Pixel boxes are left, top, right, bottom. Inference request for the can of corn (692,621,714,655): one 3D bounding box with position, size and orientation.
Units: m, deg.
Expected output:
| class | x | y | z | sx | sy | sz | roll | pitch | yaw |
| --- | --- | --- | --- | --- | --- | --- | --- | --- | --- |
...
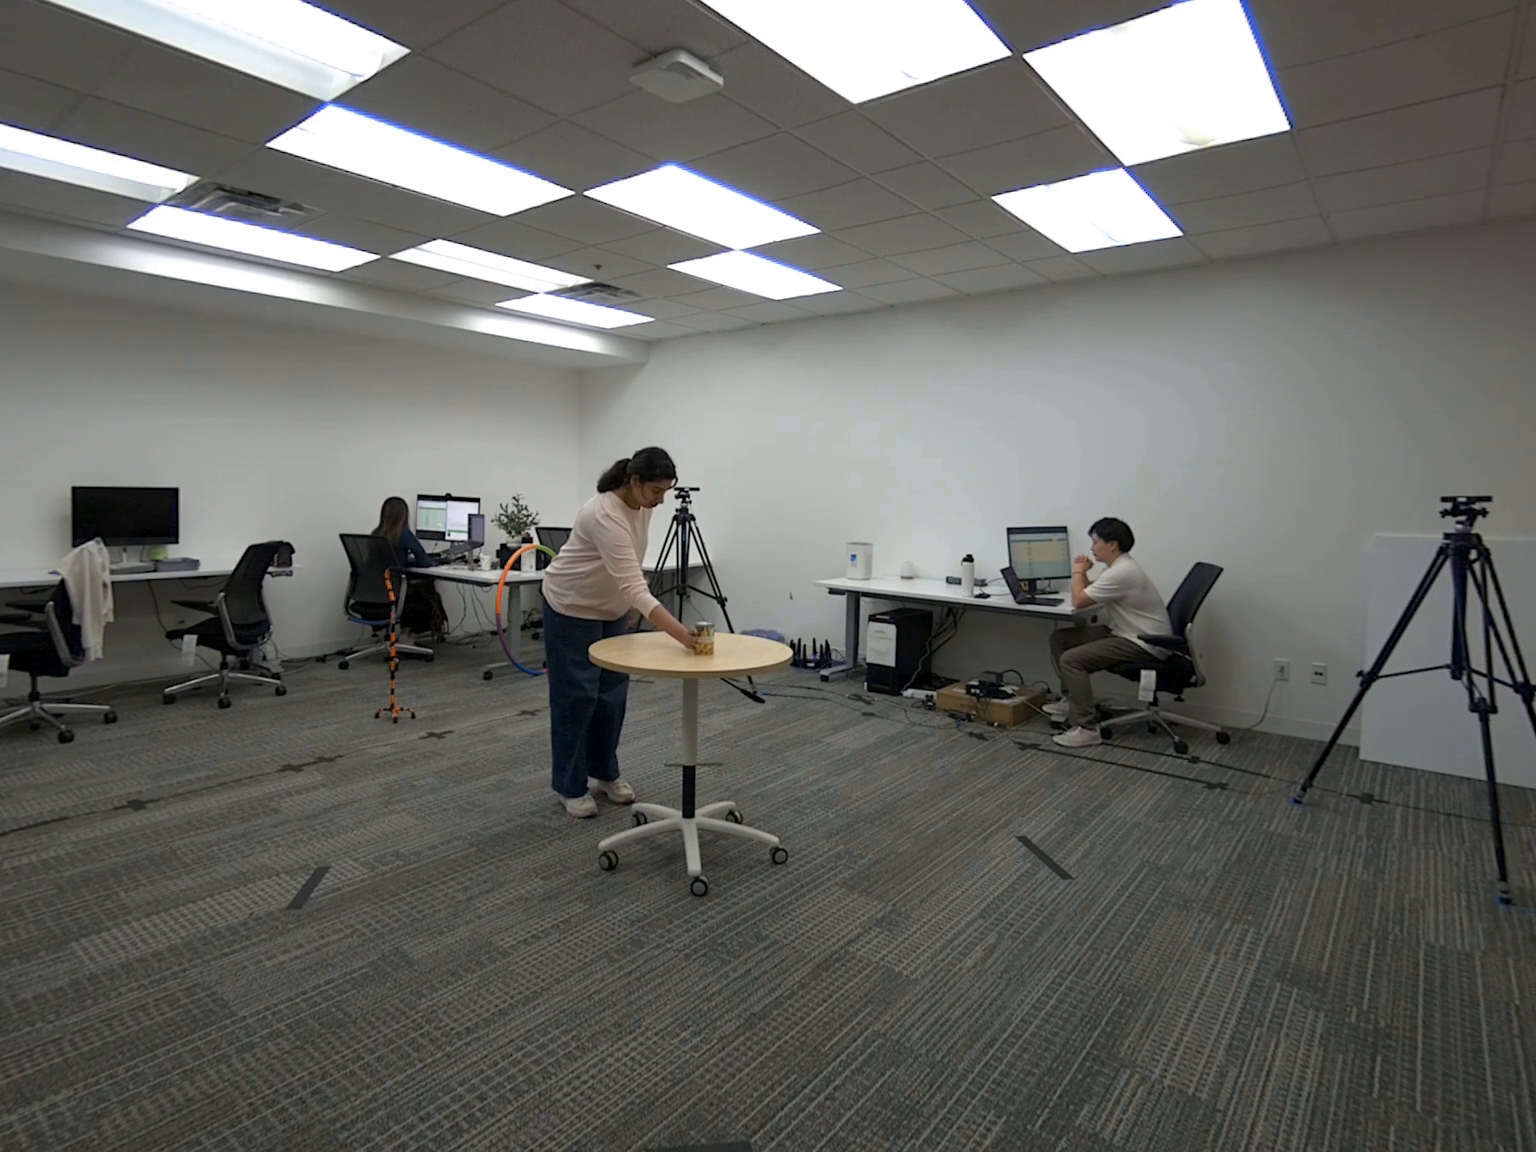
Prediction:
| class | x | y | z | sx | sy | sz | roll | pitch | yaw |
| --- | --- | --- | --- | --- | --- | --- | --- | --- | --- |
| can of corn | -0.247 | 0.224 | 3.116 | 0.074 | 0.111 | 0.074 | 0 | 4 | -2 |
